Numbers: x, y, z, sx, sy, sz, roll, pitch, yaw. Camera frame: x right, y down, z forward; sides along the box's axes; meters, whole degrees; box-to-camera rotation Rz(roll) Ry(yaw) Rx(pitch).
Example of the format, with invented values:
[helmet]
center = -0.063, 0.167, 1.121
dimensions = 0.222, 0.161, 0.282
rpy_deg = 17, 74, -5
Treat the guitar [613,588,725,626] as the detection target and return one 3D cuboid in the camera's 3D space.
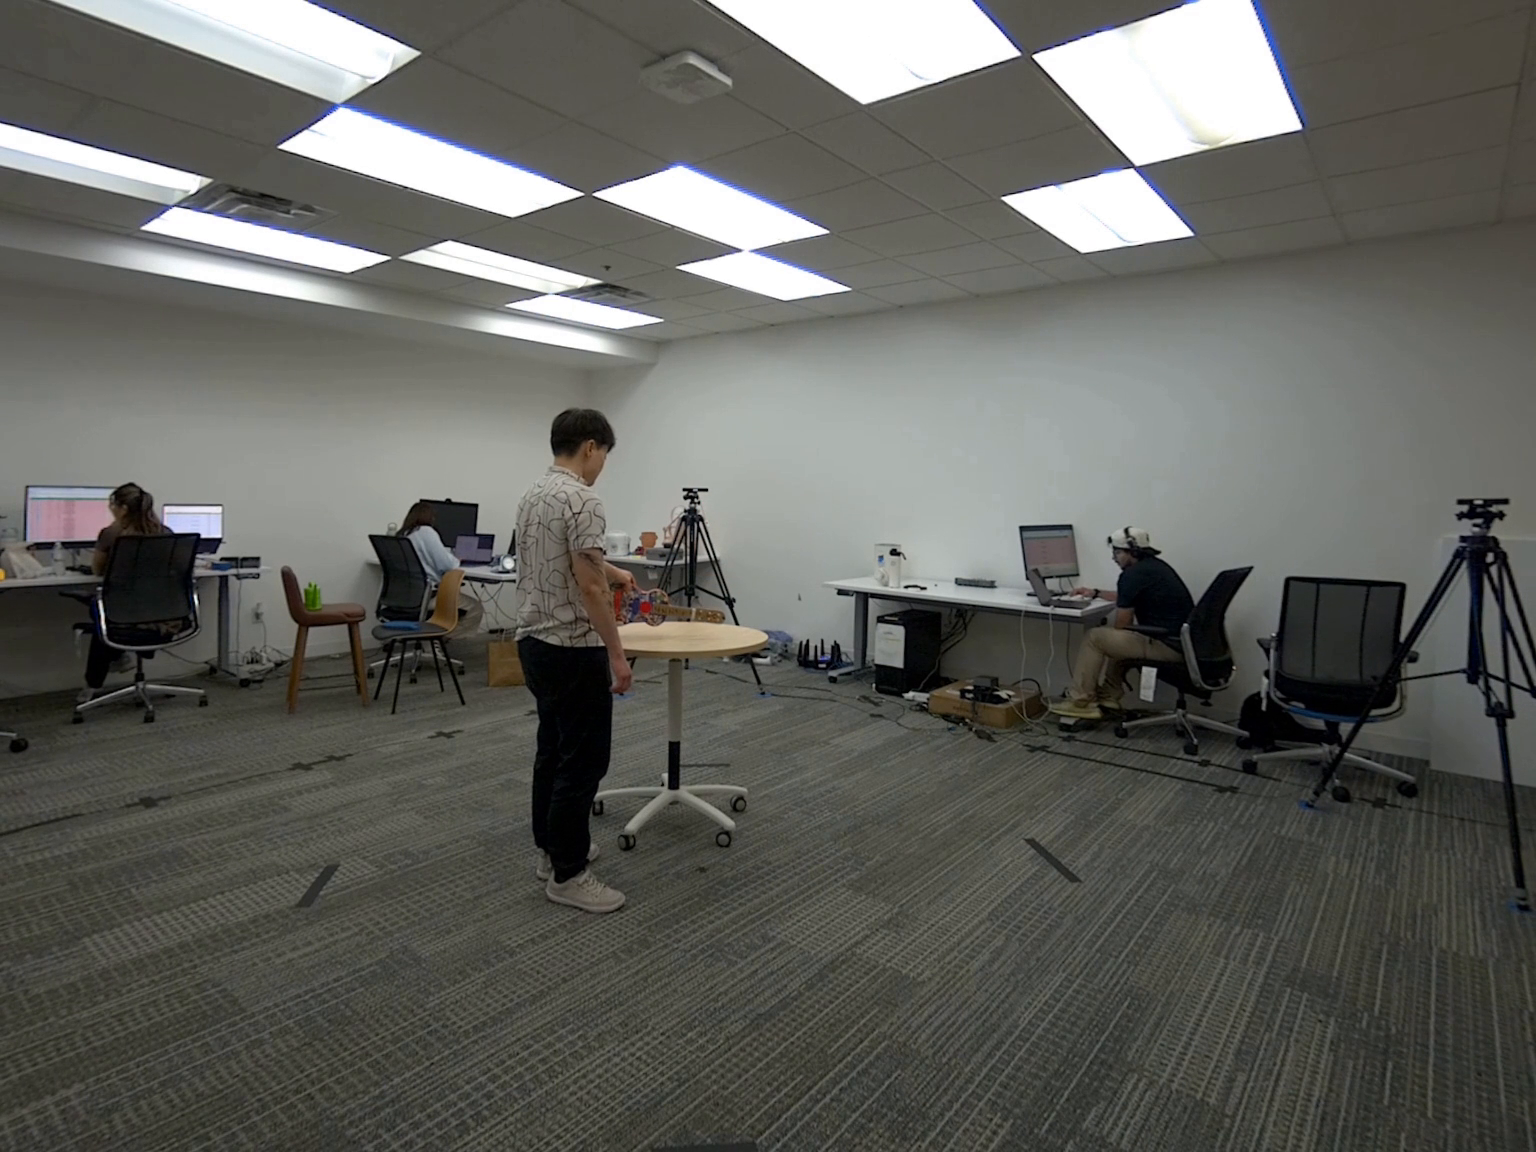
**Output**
[guitar]
center = -0.448, 0.161, 3.476
dimensions = 0.496, 0.193, 0.071
rpy_deg = 17, 0, -3
